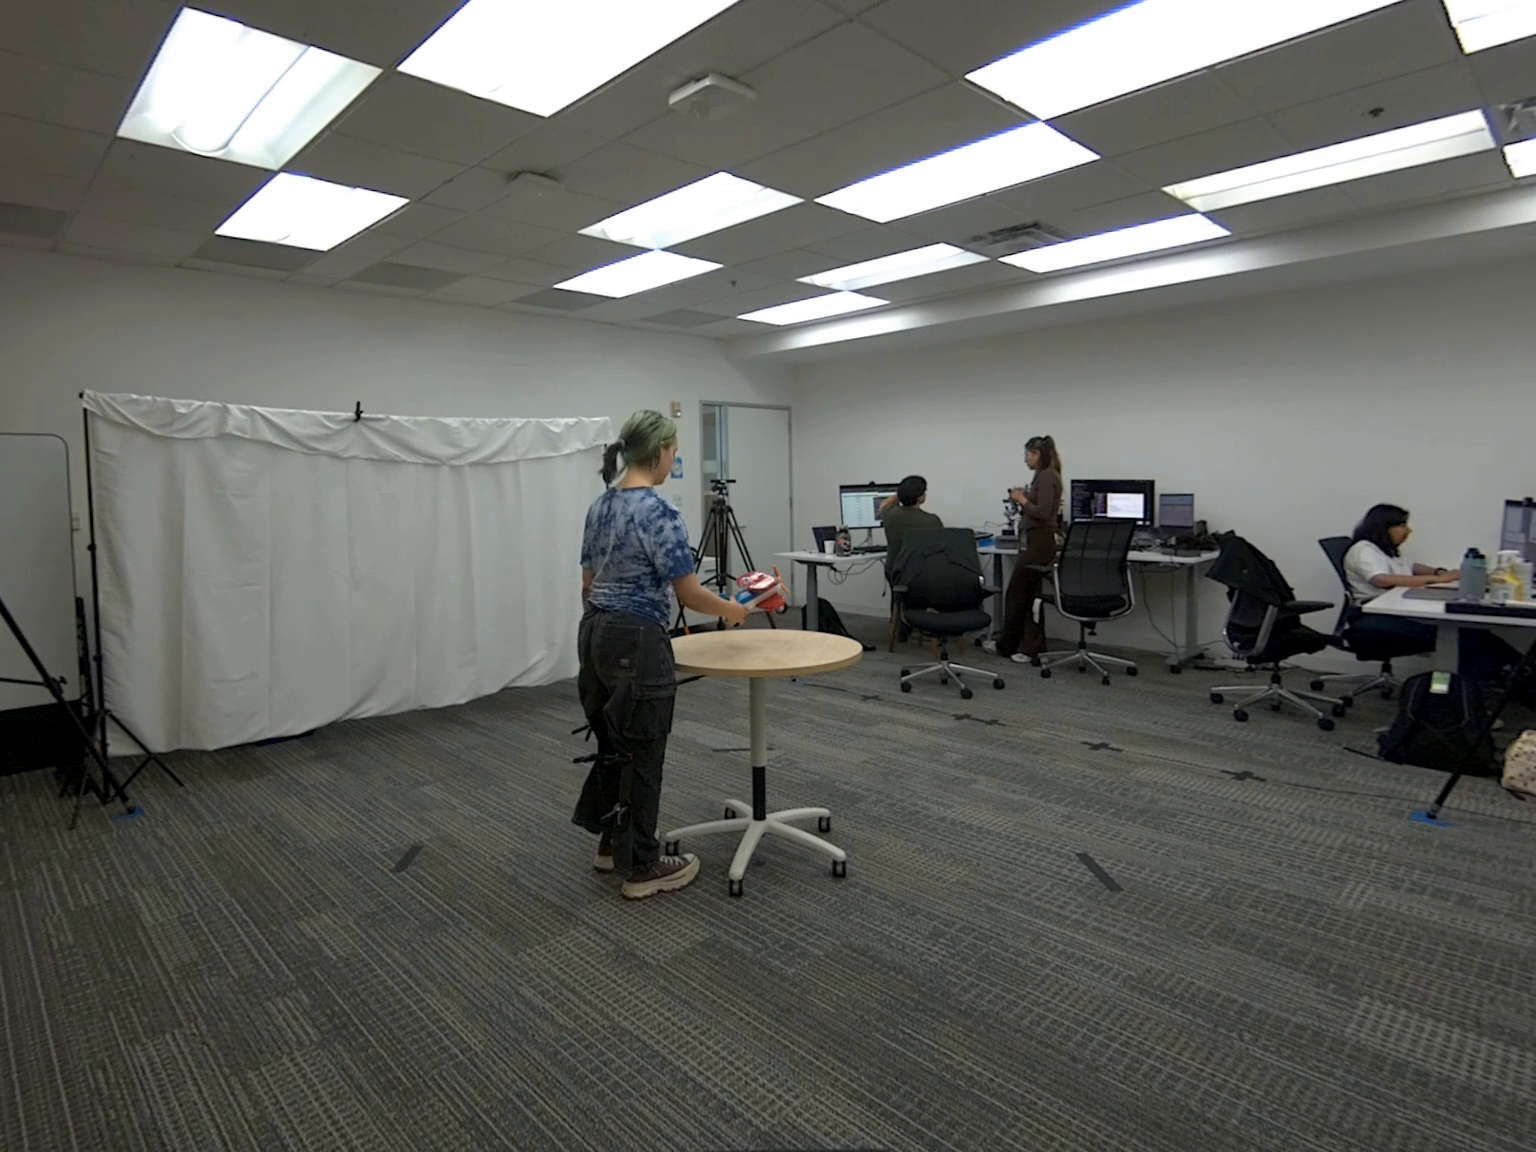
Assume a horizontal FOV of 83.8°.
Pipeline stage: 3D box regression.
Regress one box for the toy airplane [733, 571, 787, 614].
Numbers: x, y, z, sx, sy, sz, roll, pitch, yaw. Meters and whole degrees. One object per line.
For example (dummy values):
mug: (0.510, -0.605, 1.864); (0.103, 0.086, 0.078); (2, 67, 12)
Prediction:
toy airplane: (-0.045, 0.086, 3.102); (0.258, 0.154, 0.255); (-1, 15, 39)
